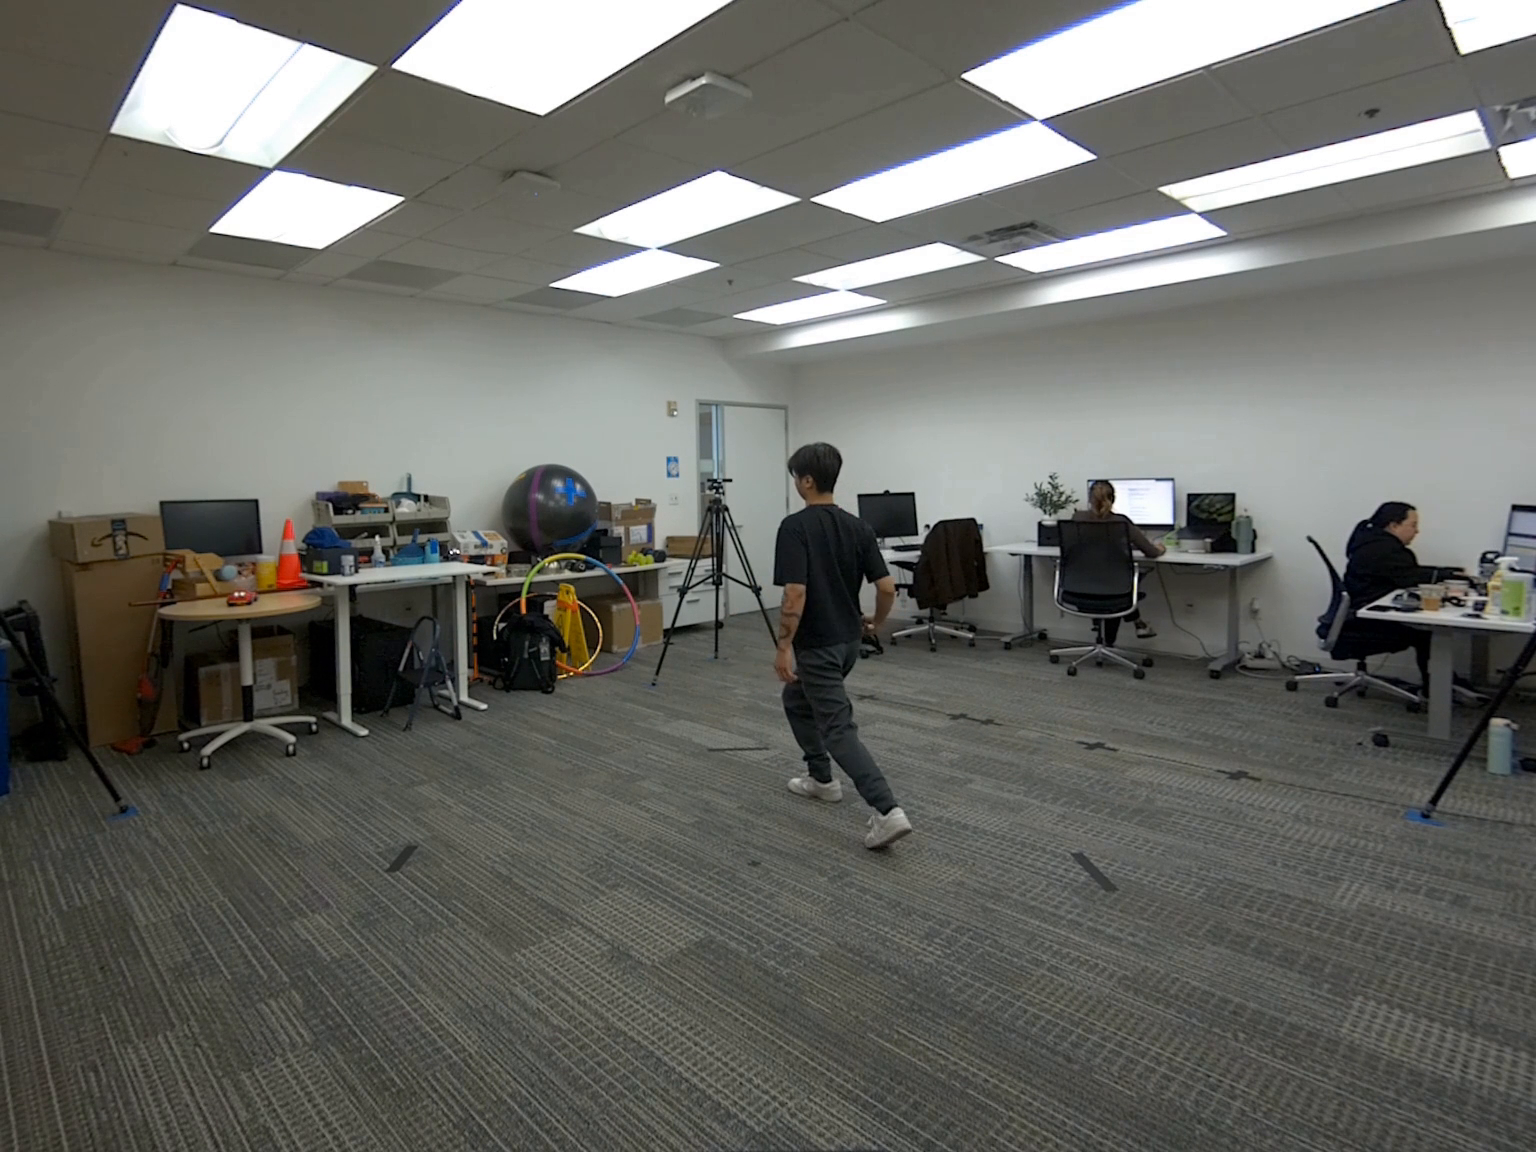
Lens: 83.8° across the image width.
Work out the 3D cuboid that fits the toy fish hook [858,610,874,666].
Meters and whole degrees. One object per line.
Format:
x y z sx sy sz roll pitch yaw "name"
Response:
0.388 0.237 4.009 0.048 0.222 0.512 -11 10 -5 "toy fish hook"
